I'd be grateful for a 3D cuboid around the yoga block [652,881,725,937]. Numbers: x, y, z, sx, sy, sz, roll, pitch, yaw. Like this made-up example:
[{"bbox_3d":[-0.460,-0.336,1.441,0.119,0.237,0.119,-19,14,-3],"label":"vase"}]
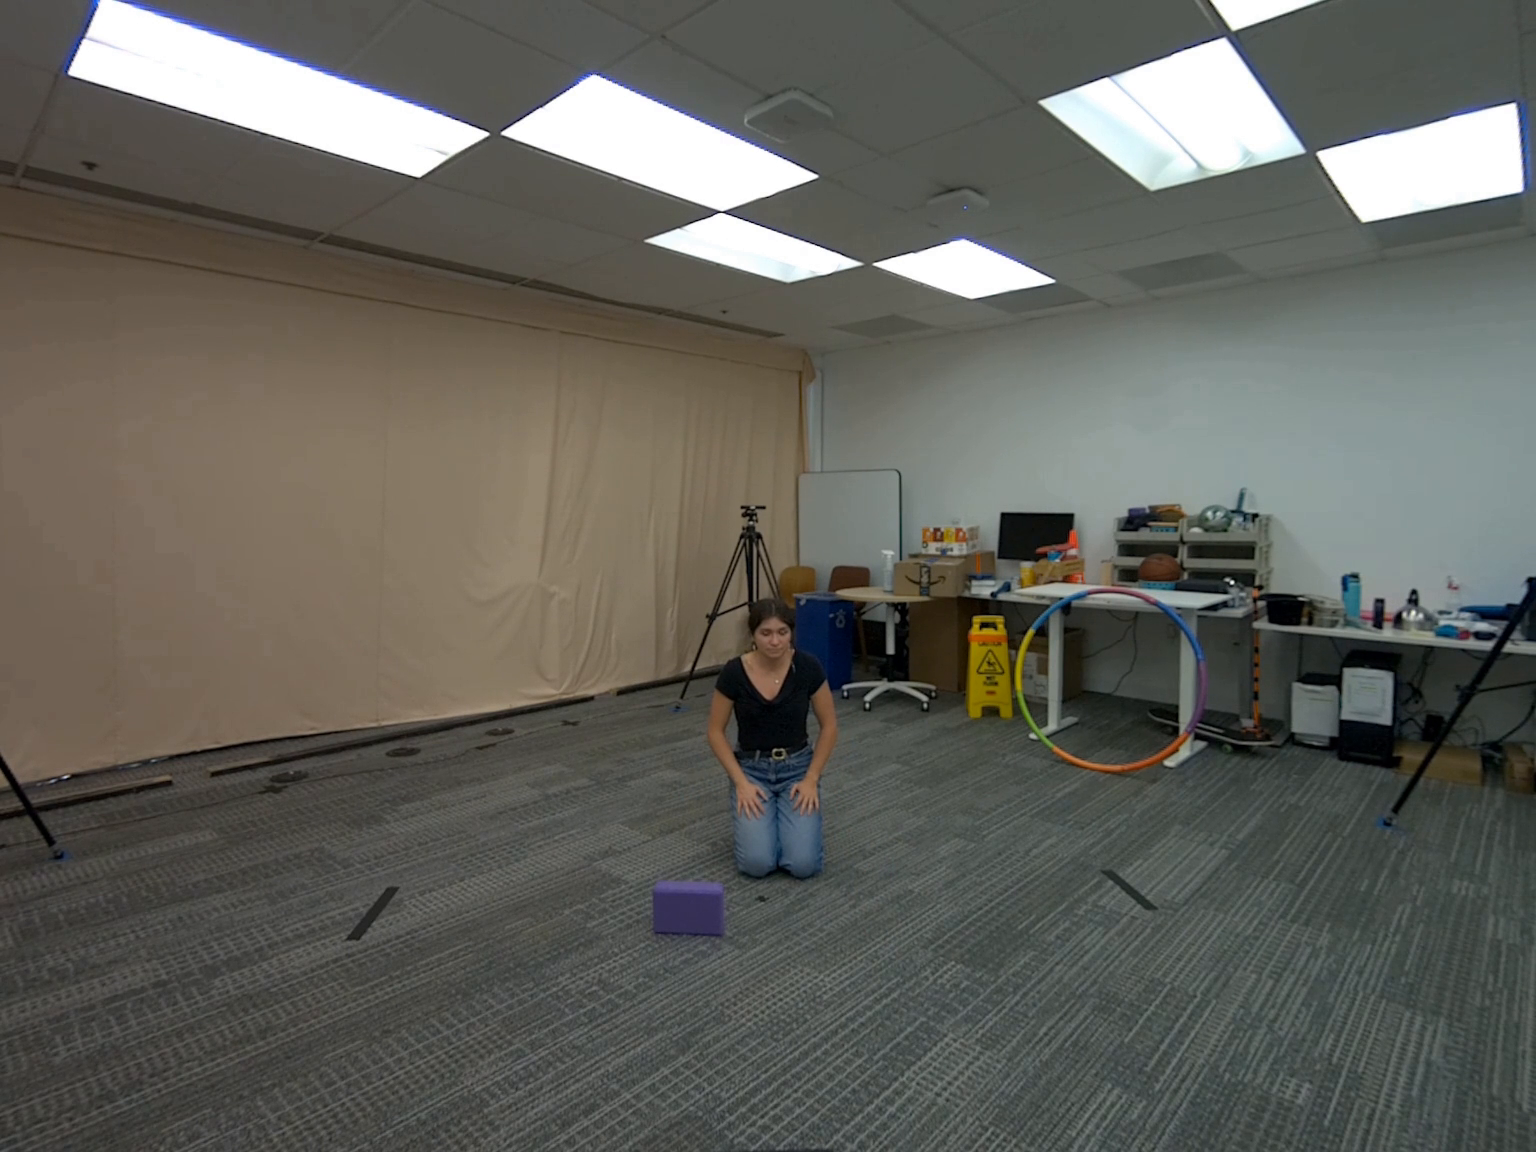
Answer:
[{"bbox_3d":[-0.252,1.086,2.761,0.231,0.148,0.076,1,4,5],"label":"yoga block"}]
